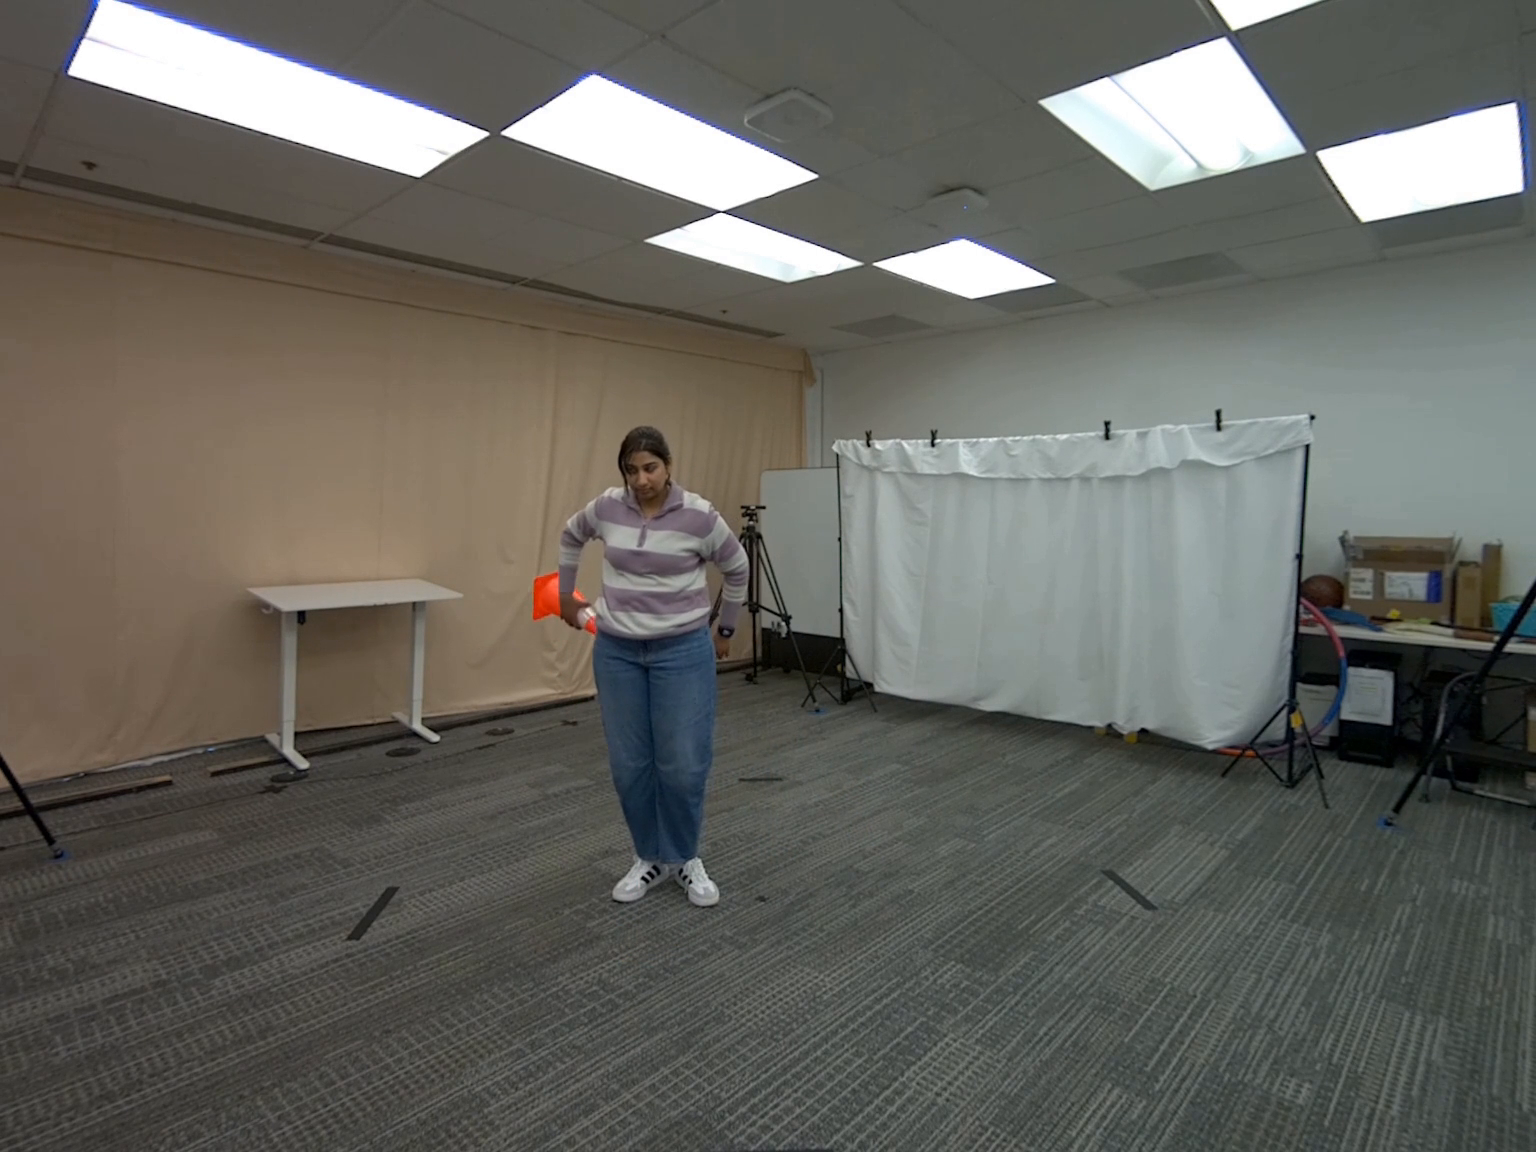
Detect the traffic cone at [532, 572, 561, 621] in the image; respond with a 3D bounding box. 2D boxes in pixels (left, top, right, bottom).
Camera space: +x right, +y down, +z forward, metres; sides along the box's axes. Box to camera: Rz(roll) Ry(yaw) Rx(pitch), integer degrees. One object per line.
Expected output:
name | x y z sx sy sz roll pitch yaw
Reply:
traffic cone | -0.714 0.155 3.268 0.397 0.201 0.200 32 37 32
